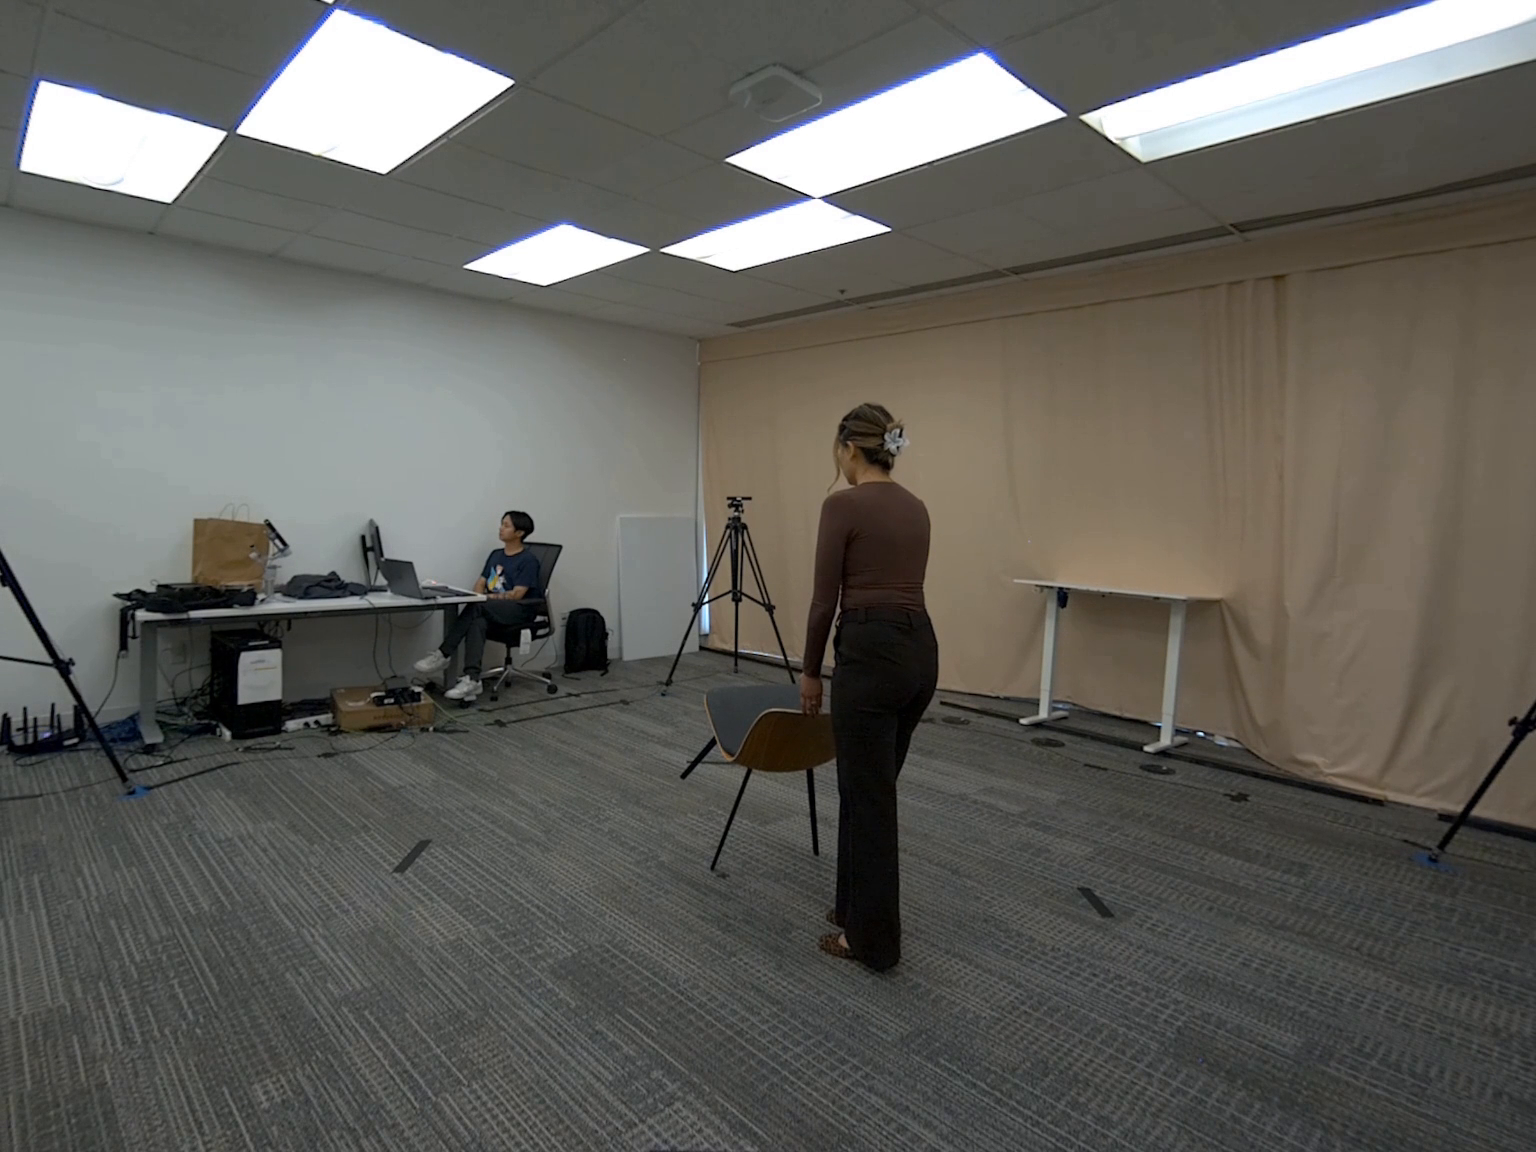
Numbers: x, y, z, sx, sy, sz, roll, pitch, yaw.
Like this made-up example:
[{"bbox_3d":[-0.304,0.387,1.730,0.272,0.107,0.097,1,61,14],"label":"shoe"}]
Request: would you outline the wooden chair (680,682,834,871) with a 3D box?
[{"bbox_3d":[0.007,0.615,3.179,0.470,0.865,0.539,0,39,-23],"label":"wooden chair"}]
